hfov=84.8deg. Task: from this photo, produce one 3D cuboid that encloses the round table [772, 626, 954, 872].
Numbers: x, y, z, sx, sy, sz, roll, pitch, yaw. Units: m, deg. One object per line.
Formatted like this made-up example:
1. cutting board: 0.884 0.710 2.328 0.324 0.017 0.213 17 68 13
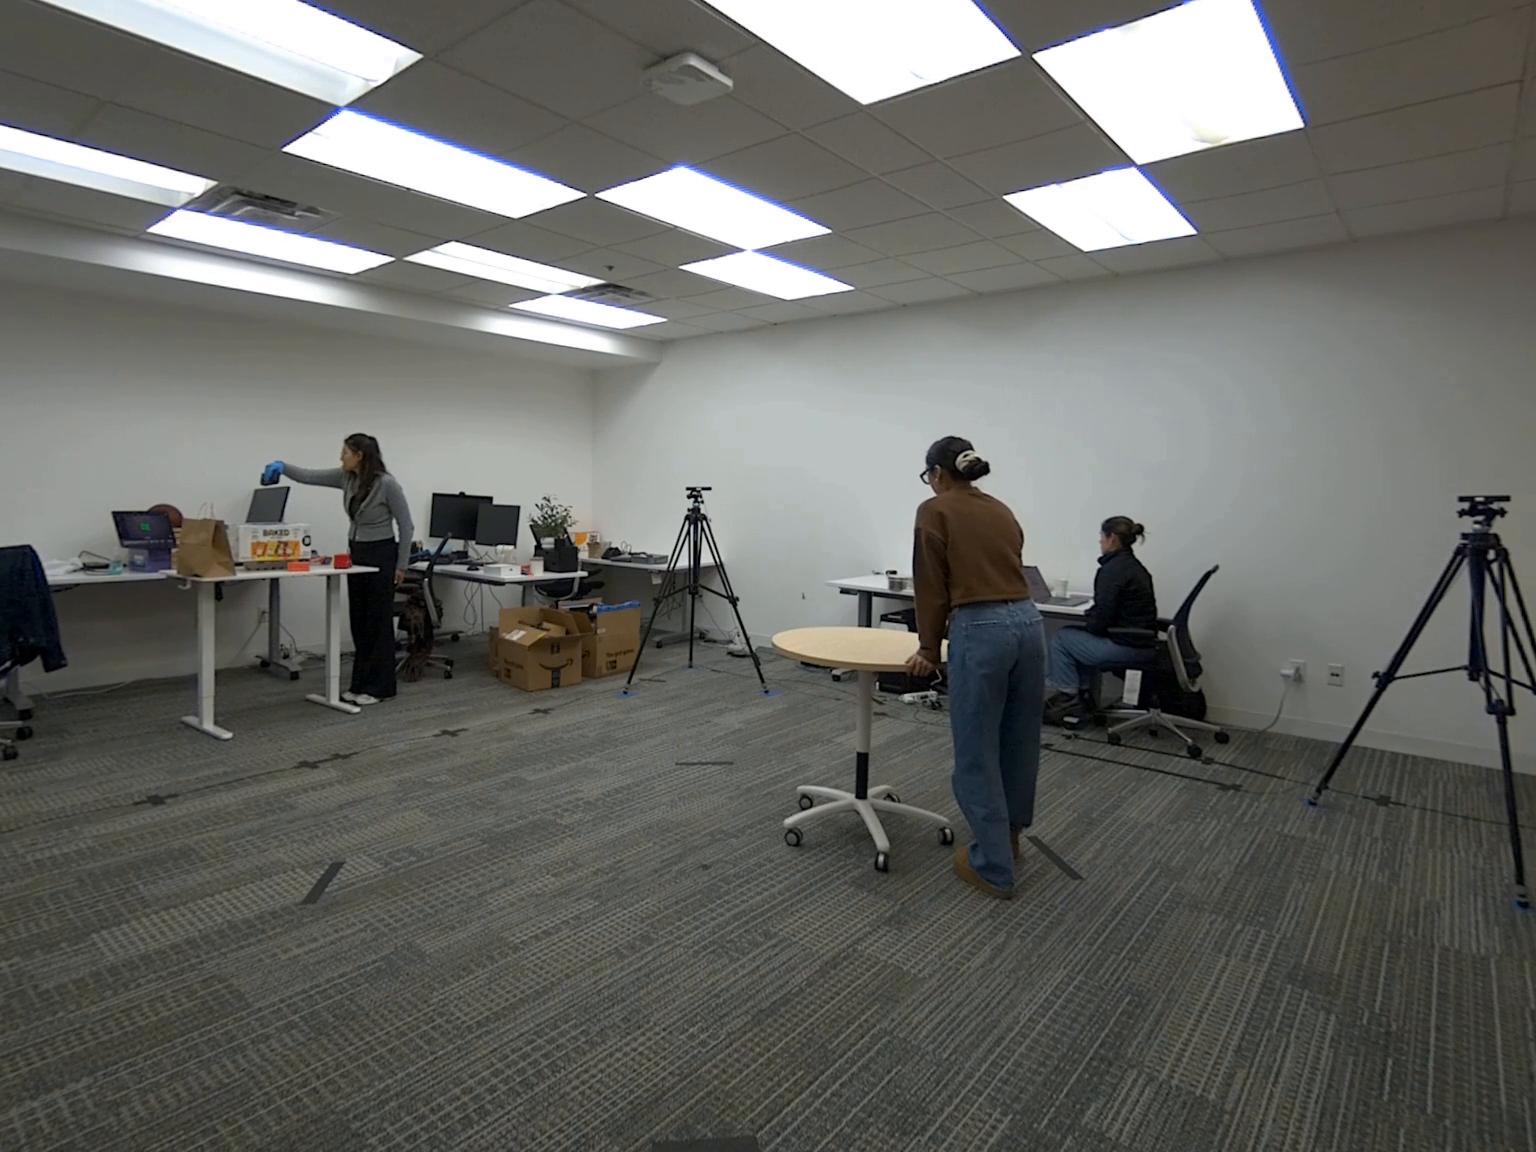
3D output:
1. round table: 0.382 0.659 3.456 0.763 0.791 0.768 2 5 -2
